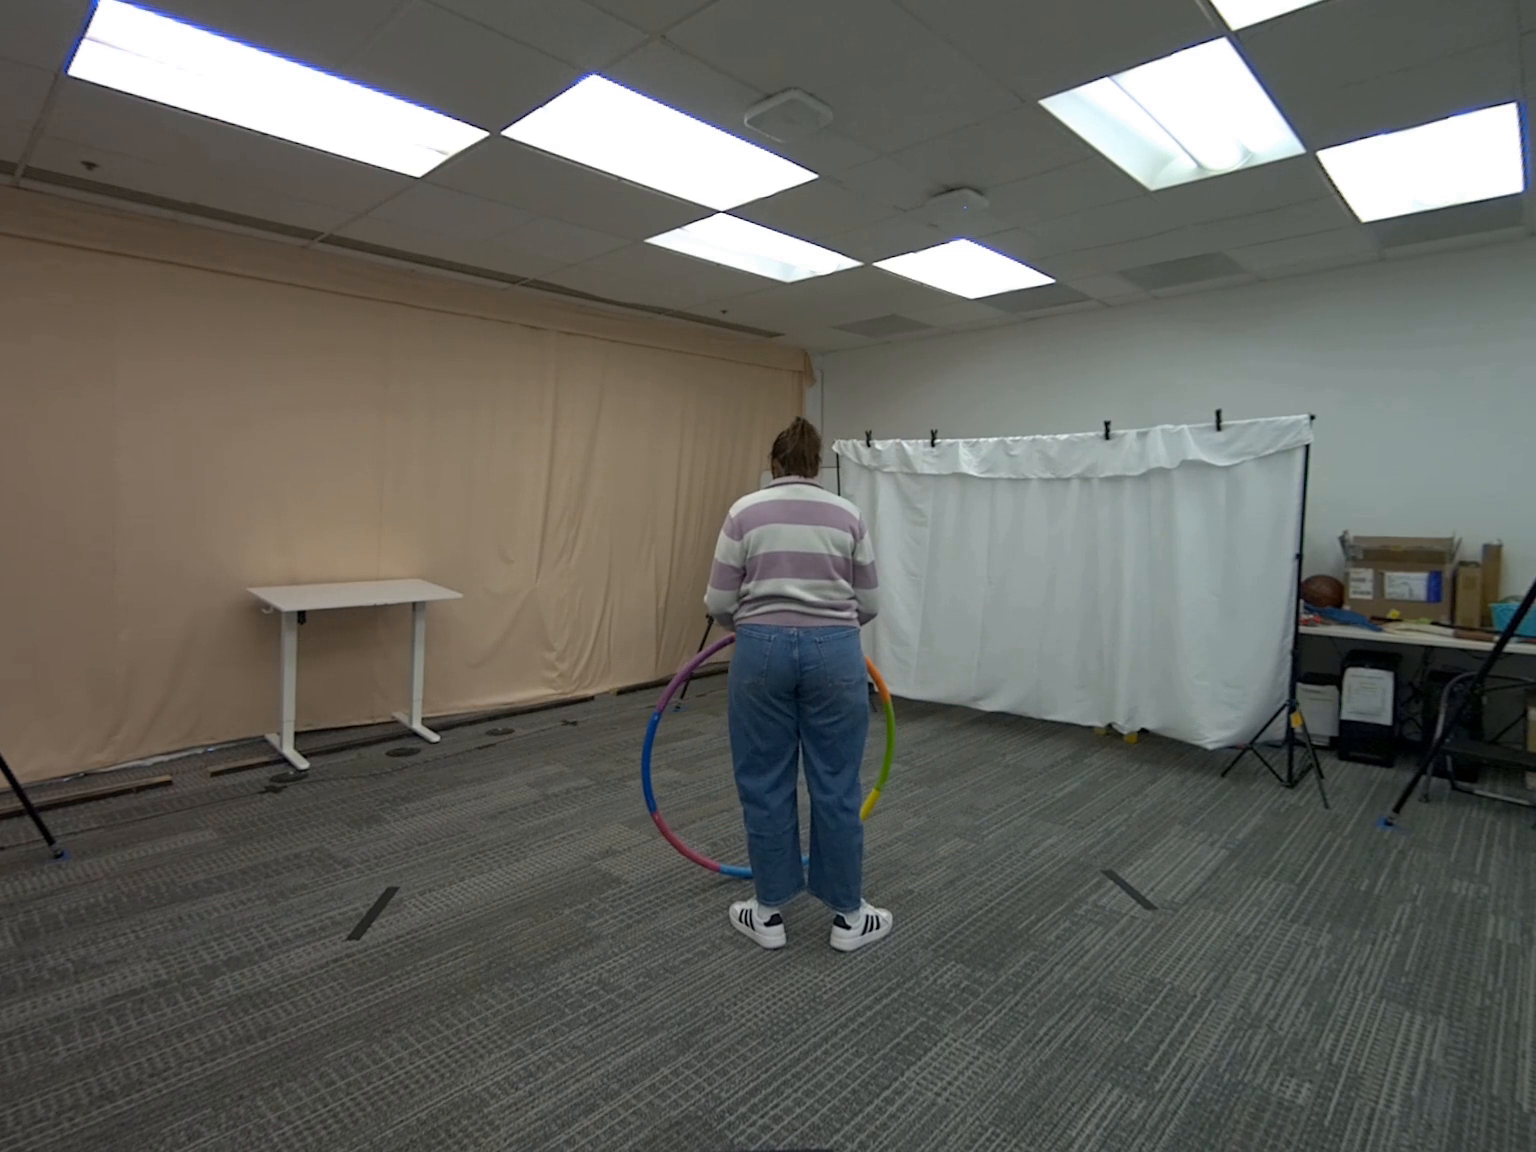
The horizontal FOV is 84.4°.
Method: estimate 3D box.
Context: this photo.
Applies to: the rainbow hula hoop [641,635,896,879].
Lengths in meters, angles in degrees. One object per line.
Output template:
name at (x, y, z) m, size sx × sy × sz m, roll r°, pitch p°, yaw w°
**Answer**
rainbow hula hoop at (0.022, 0.652, 3.097) m, size 0.968 × 0.979 × 0.053 m, roll -1°, pitch 10°, yaw -16°
